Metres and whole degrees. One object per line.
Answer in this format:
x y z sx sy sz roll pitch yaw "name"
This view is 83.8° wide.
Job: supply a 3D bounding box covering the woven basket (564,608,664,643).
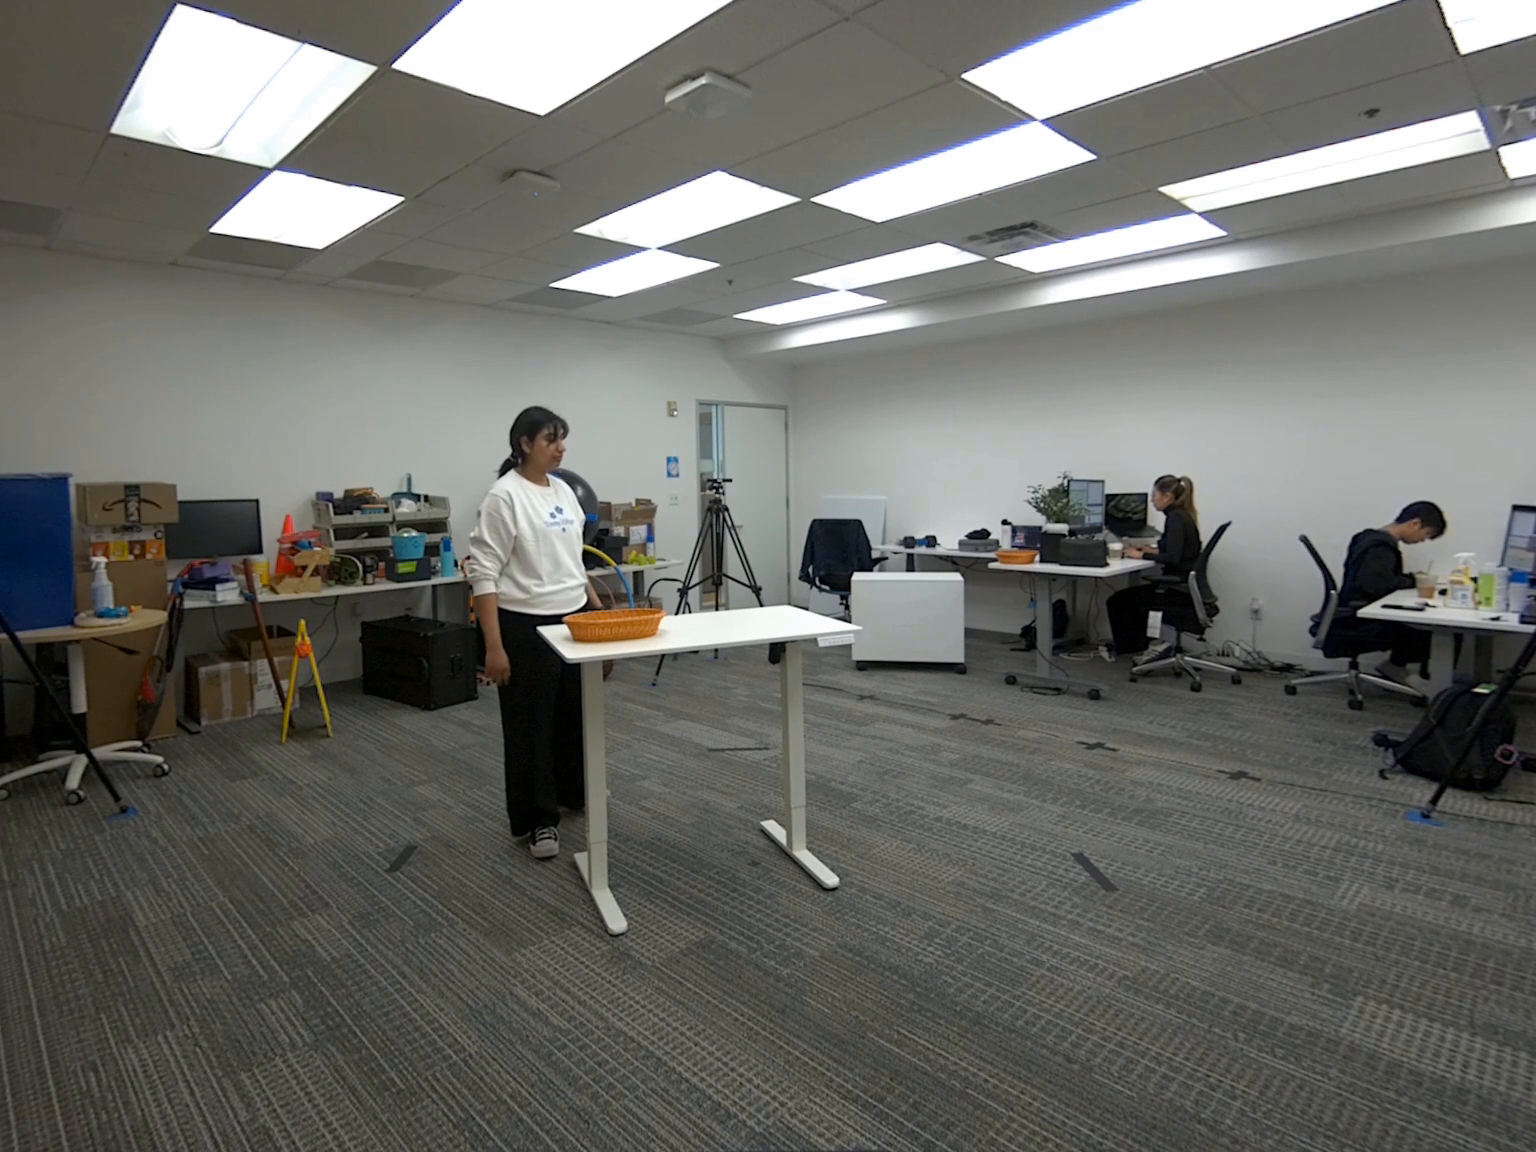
-0.505 0.171 2.885 0.344 0.073 0.258 -4 6 -20 "woven basket"
